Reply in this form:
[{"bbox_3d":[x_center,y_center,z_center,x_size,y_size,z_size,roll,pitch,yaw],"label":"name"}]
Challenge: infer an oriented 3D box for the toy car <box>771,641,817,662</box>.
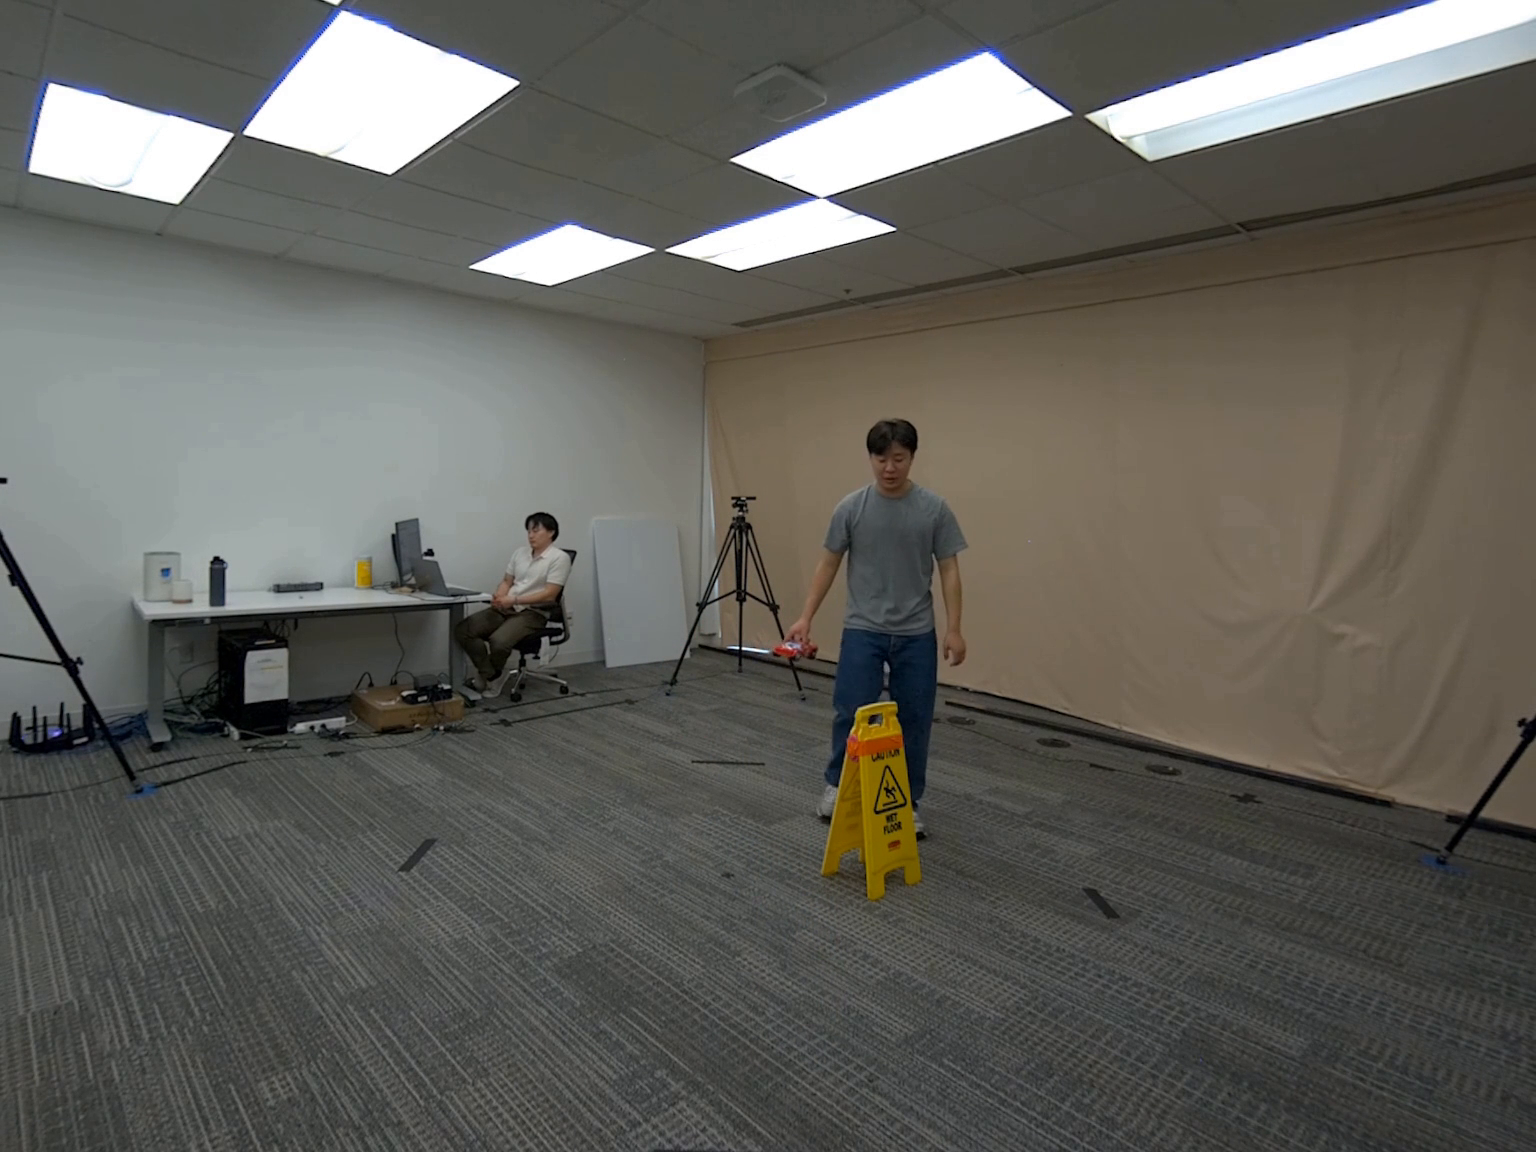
[{"bbox_3d":[0.112,0.324,3.612,0.133,0.082,0.250,8,12,32],"label":"toy car"}]
